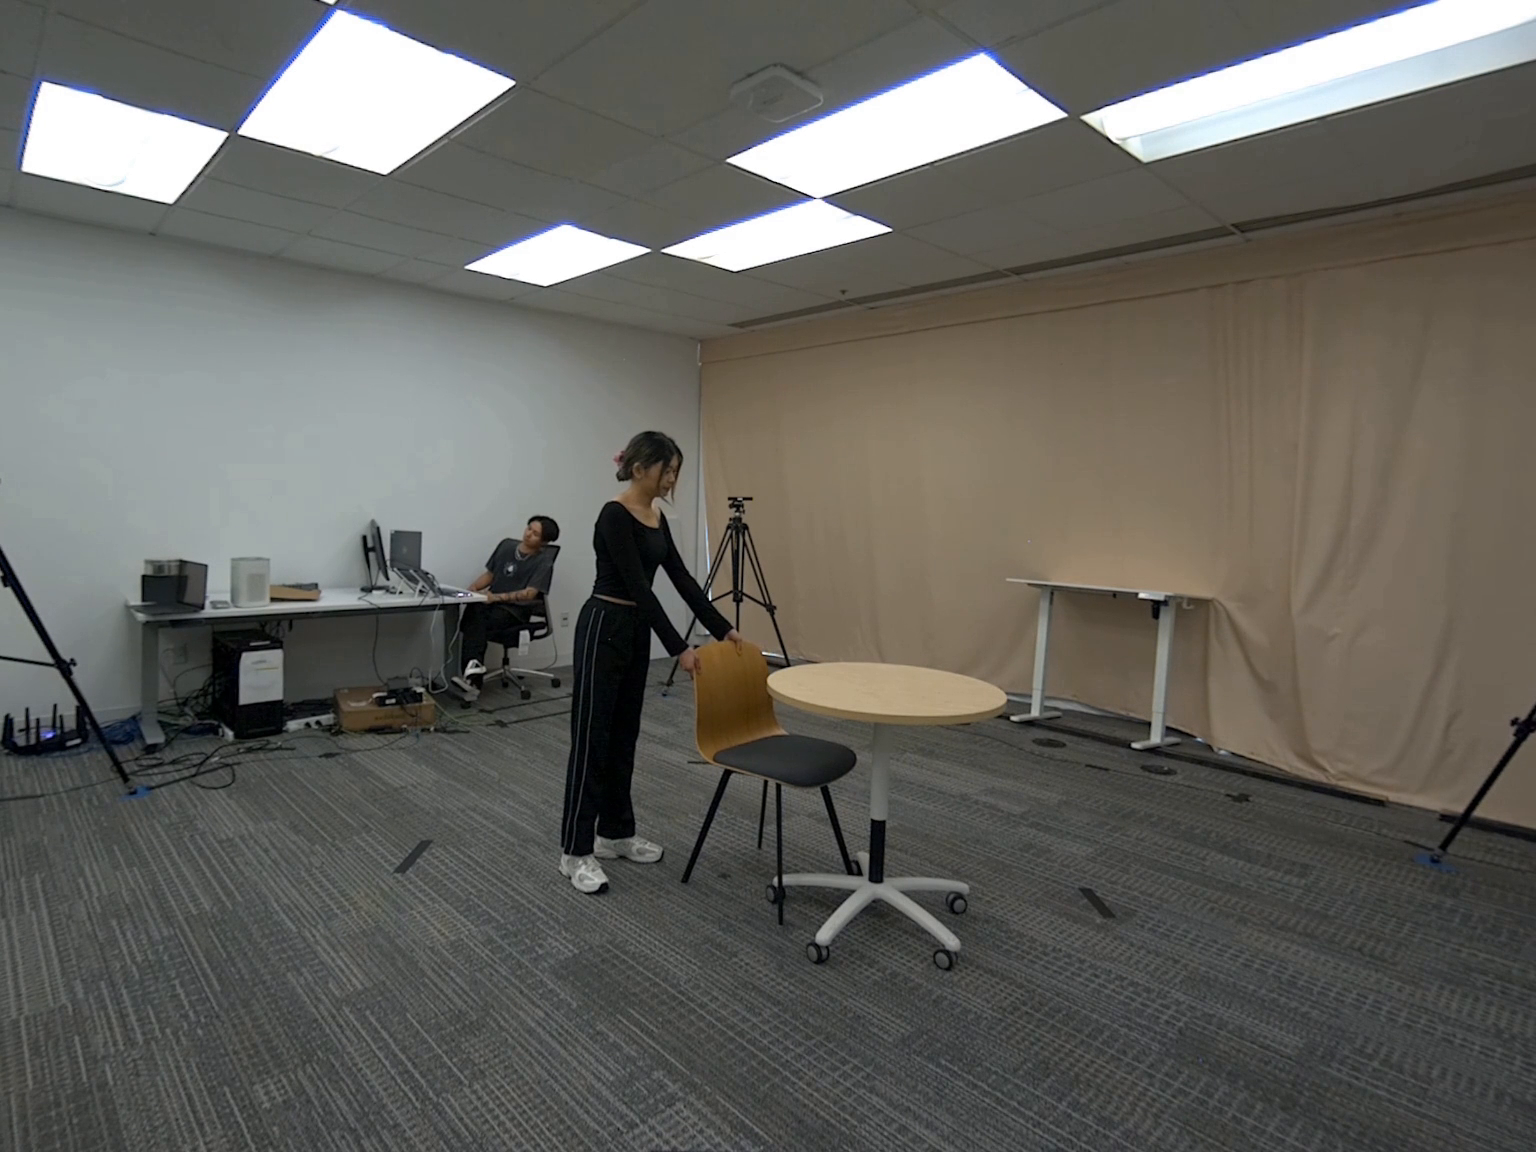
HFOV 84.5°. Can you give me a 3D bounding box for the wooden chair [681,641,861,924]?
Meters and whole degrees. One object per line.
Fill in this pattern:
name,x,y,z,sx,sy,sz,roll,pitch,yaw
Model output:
wooden chair,0.008,0.686,3.033,0.535,0.878,0.467,-2,0,40
